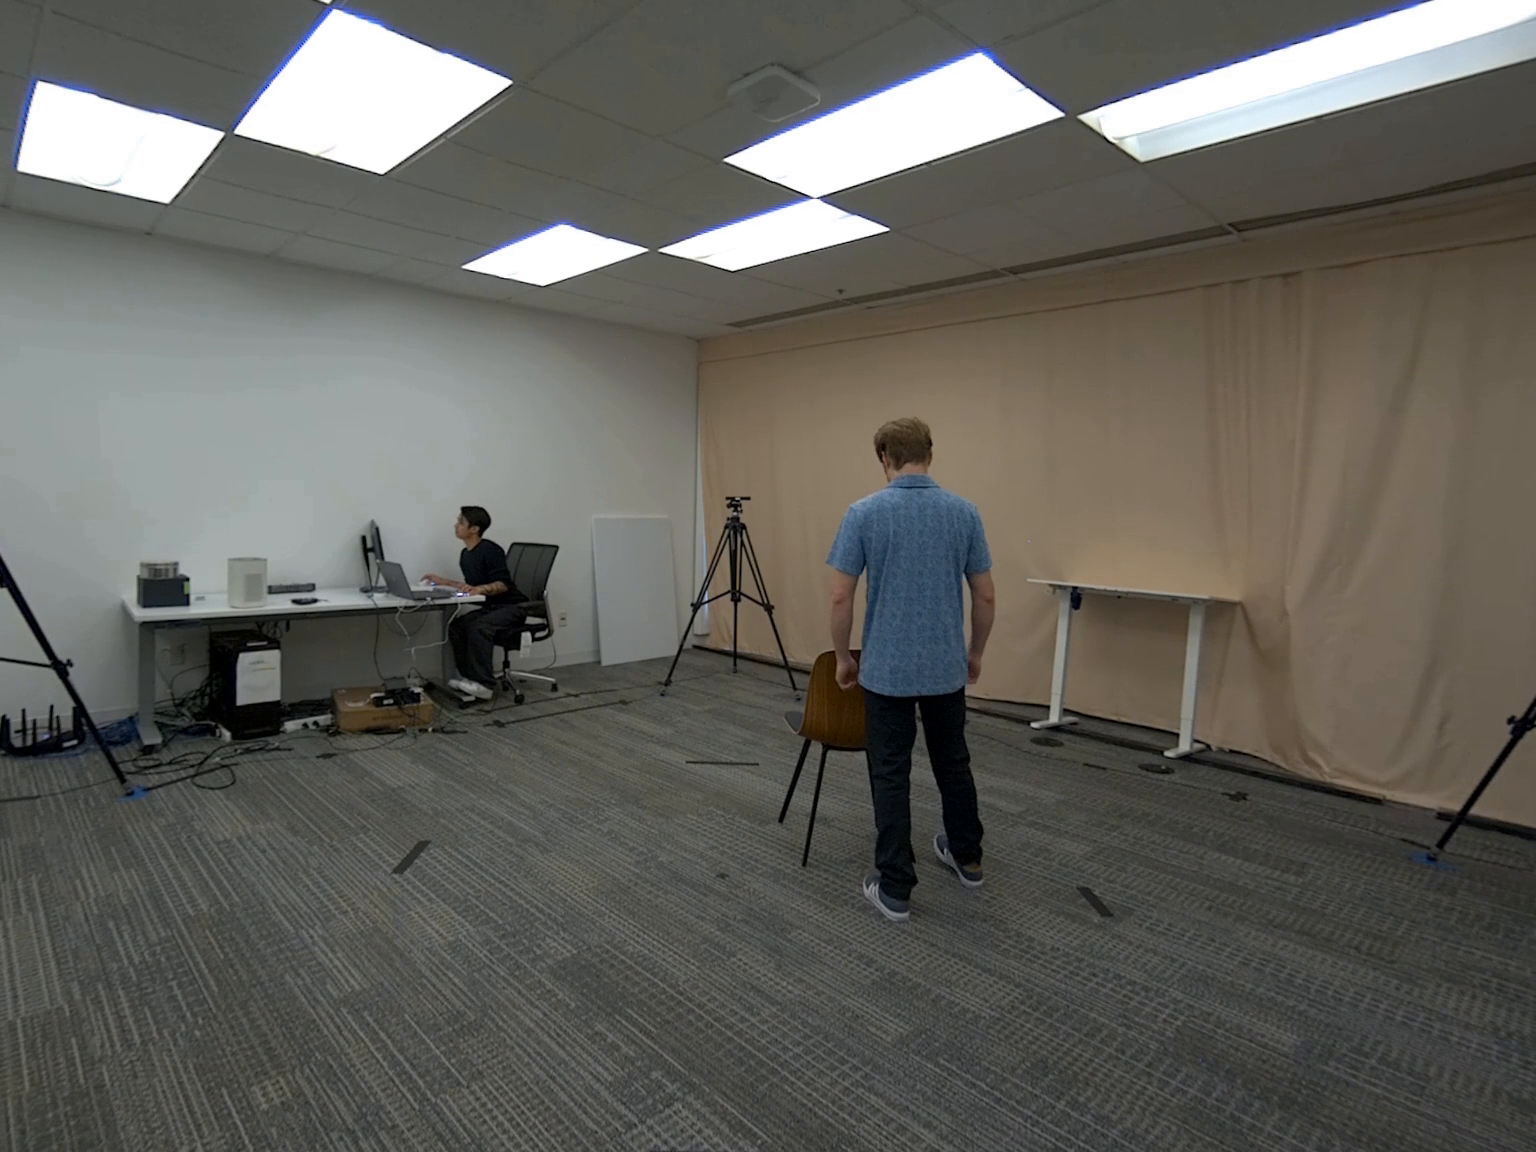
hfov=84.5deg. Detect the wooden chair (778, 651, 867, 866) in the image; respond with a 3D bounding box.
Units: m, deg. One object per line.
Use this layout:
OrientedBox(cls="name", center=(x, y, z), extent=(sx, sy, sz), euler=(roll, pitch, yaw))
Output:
OrientedBox(cls="wooden chair", center=(0.302, 0.657, 3.431), extent=(0.474, 0.873, 0.530), euler=(0, 7, -11))
